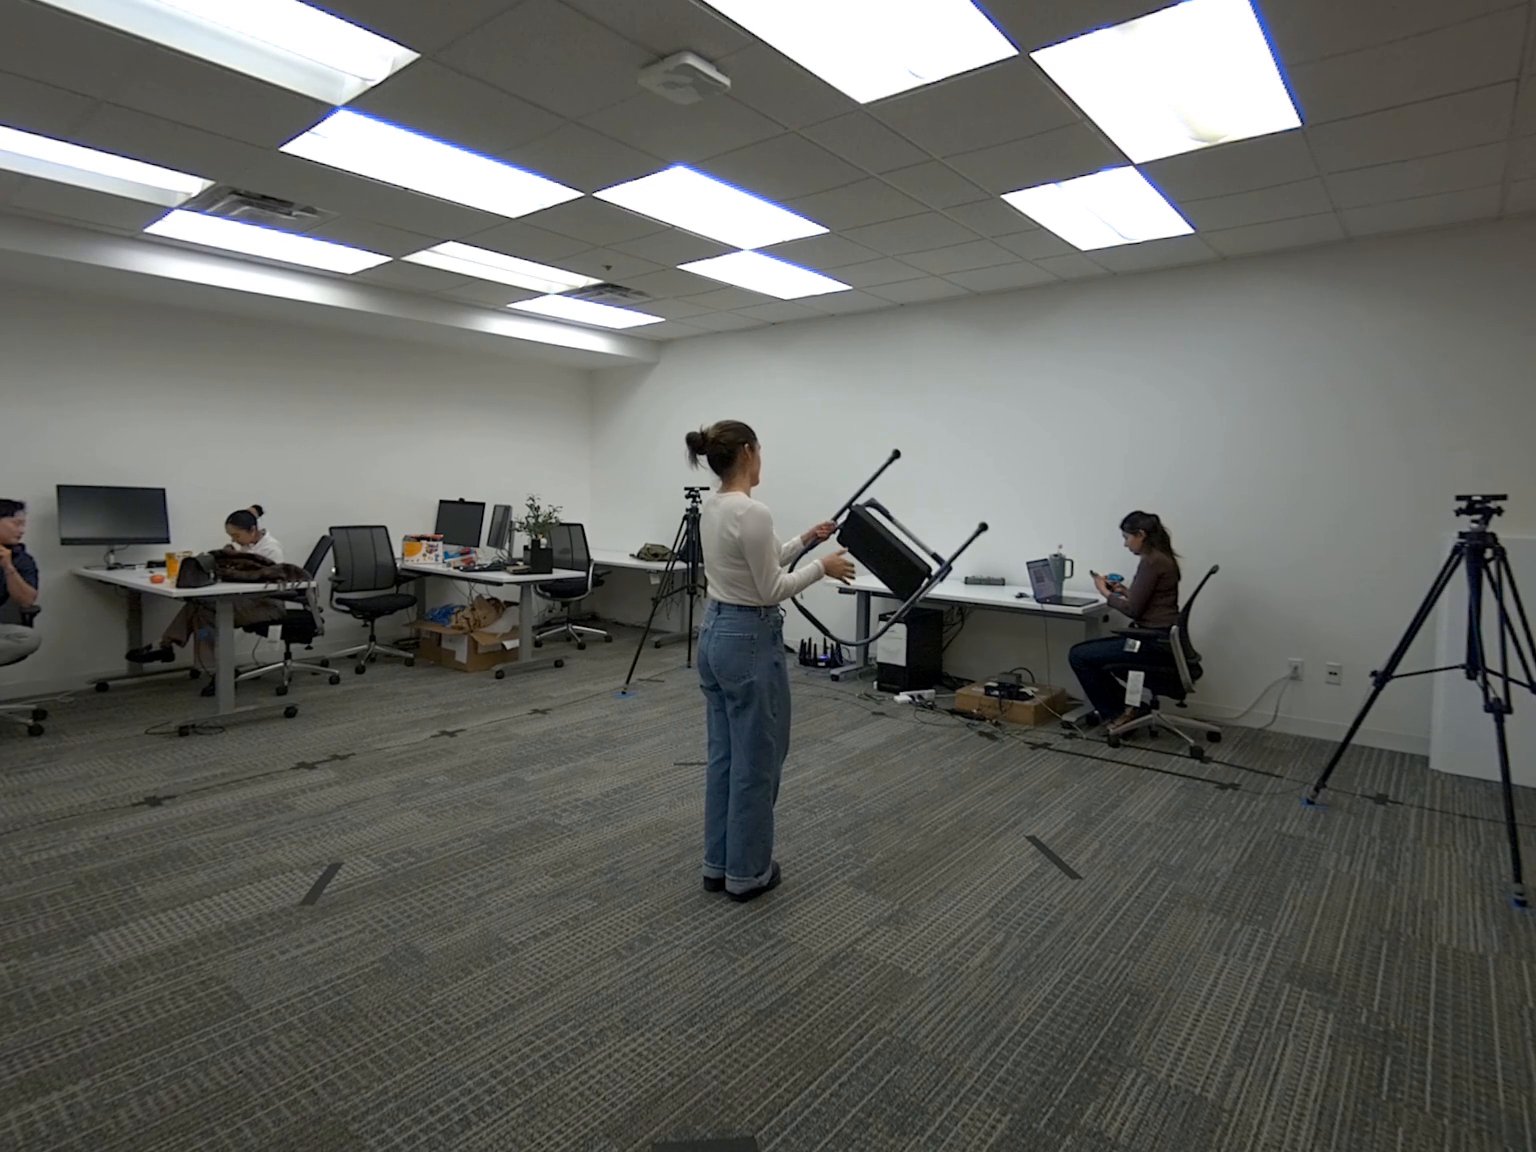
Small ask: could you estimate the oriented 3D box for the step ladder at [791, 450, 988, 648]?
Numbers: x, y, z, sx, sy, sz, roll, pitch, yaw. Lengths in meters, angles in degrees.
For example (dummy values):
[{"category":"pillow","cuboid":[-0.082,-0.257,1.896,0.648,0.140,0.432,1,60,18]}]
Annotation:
[{"category":"step ladder","cuboid":[0.361,-0.054,2.999,0.603,0.441,0.343,-40,-18,-24]}]
